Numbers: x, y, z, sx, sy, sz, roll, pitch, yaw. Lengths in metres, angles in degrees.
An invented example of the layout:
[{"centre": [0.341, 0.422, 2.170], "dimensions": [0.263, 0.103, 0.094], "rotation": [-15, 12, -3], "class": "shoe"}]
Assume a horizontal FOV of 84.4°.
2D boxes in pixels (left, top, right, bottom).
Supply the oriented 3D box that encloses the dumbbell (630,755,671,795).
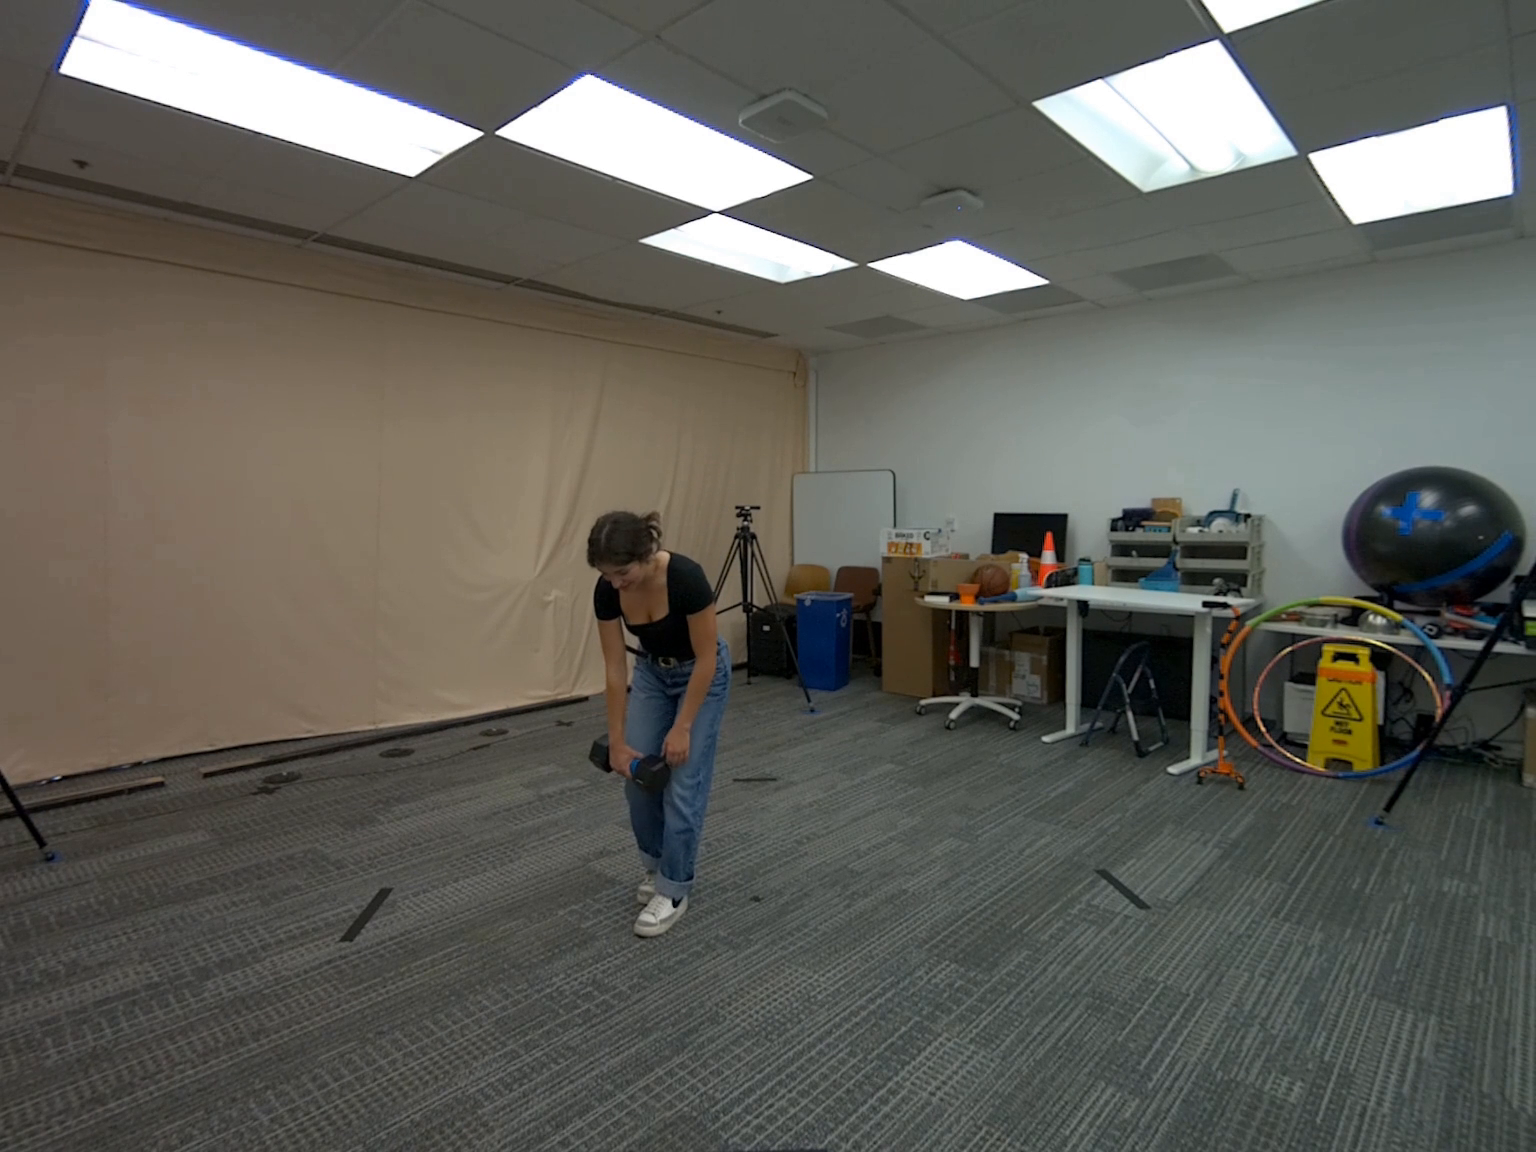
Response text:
[{"centre": [-0.461, 0.627, 2.815], "dimensions": [0.304, 0.119, 0.108], "rotation": [13, 53, 36], "class": "dumbbell"}]
